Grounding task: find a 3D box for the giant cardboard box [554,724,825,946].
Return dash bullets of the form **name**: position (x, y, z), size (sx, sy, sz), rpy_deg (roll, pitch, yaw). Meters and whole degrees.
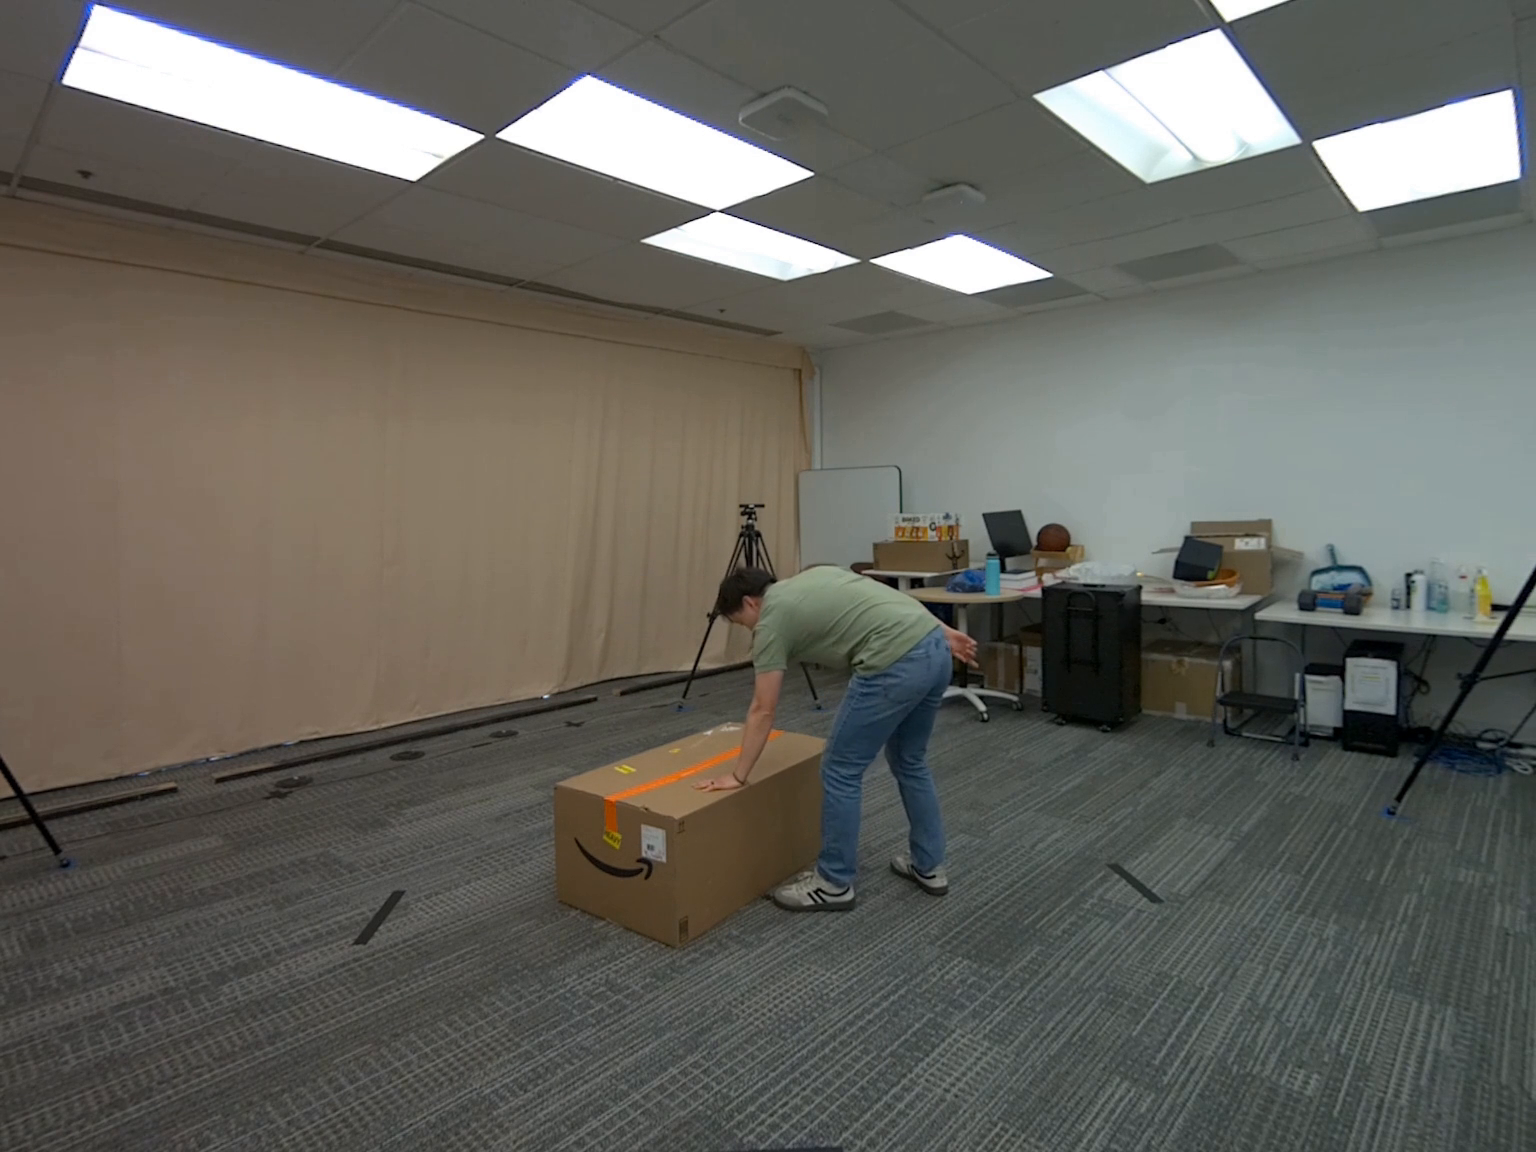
- **giant cardboard box**: position (-0.225, 0.914, 3.203), size (0.596, 0.425, 0.996), rpy_deg (2, 5, 36)
